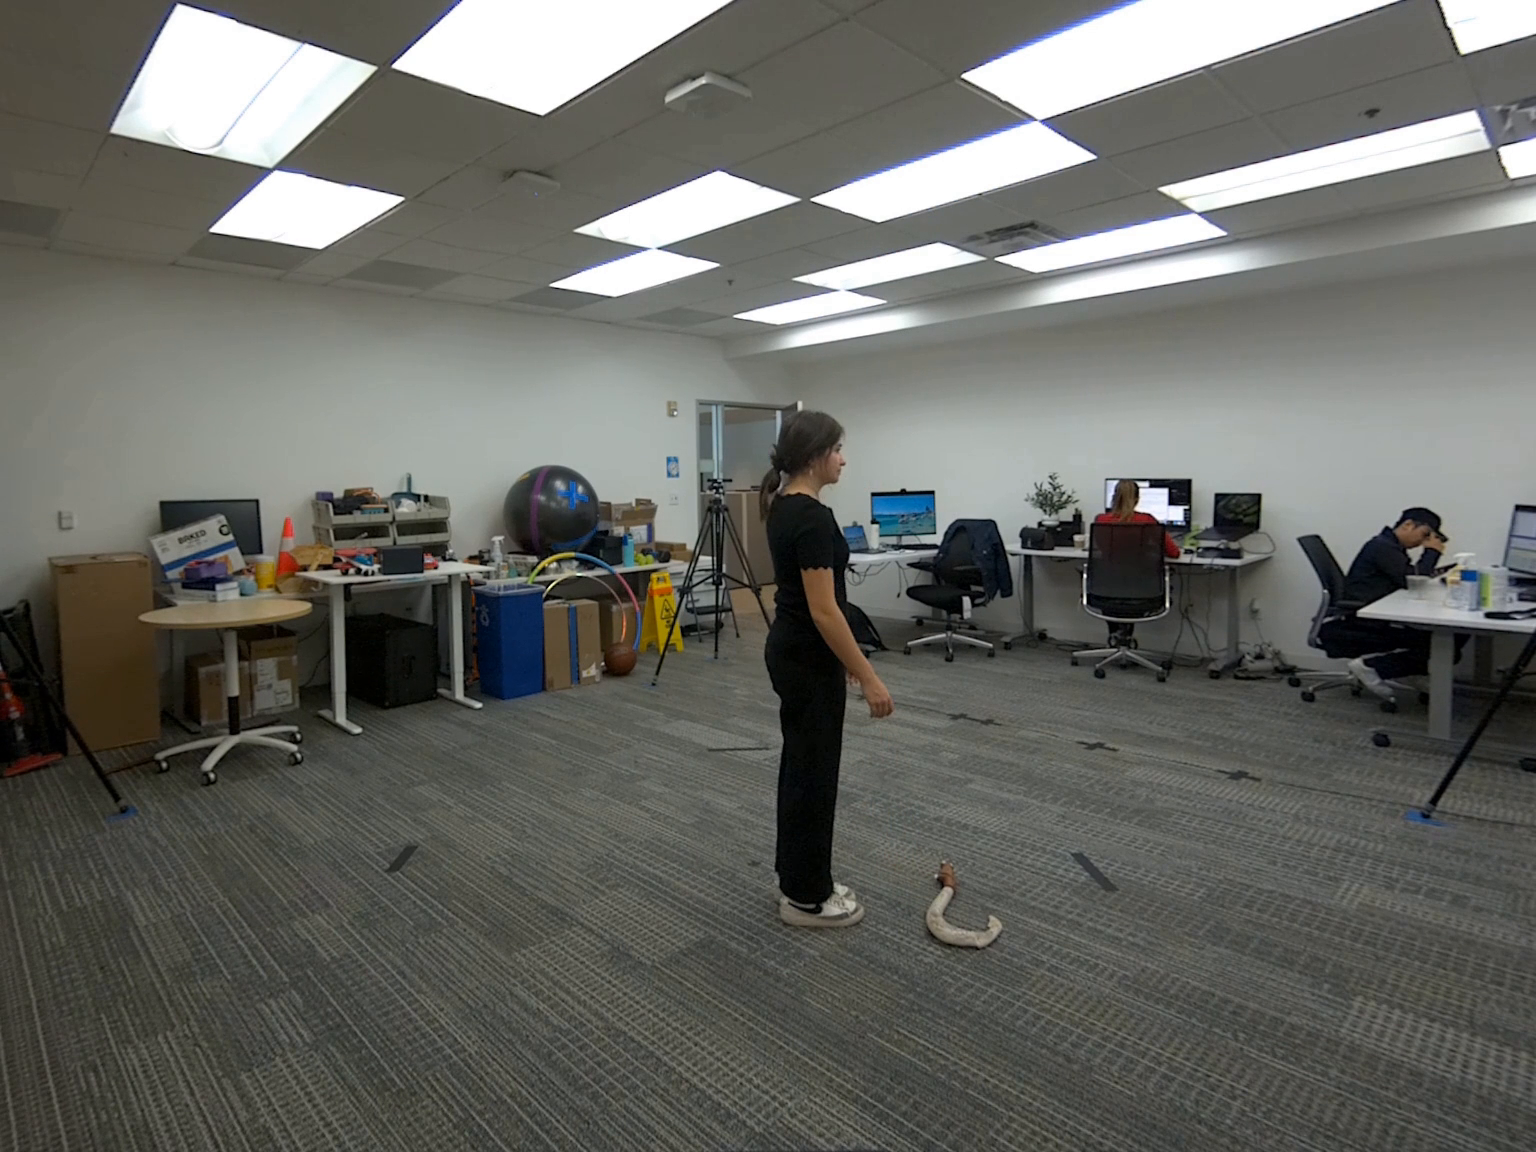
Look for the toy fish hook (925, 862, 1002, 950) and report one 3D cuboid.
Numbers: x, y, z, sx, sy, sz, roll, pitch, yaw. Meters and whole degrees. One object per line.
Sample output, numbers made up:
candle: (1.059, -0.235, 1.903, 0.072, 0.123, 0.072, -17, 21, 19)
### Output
toy fish hook: (0.631, 1.056, 2.763, 0.228, 0.048, 0.502, 8, 9, 13)
